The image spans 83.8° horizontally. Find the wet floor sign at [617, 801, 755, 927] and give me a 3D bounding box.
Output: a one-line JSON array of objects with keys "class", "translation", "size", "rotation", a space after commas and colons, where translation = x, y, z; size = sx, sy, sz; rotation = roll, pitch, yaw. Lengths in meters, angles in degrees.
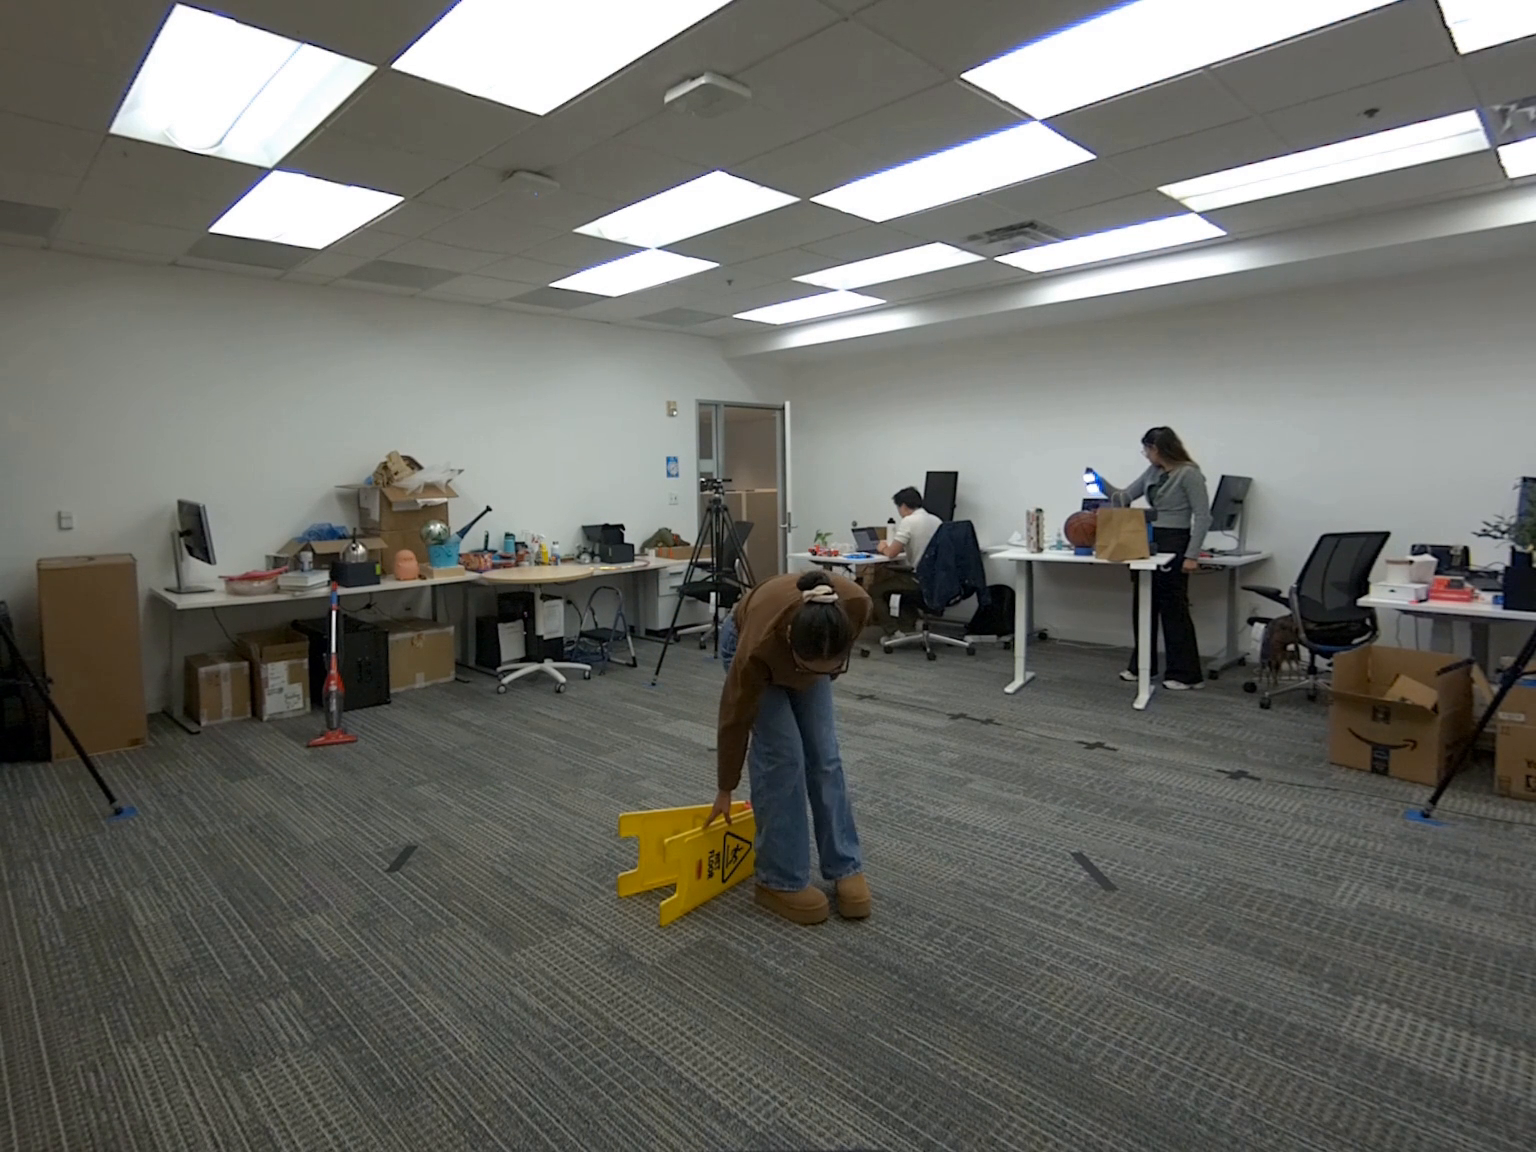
[{"class": "wet floor sign", "translation": [-0.176, 0.936, 2.966], "size": [0.628, 0.281, 0.298], "rotation": [-3, 5, -41]}]
